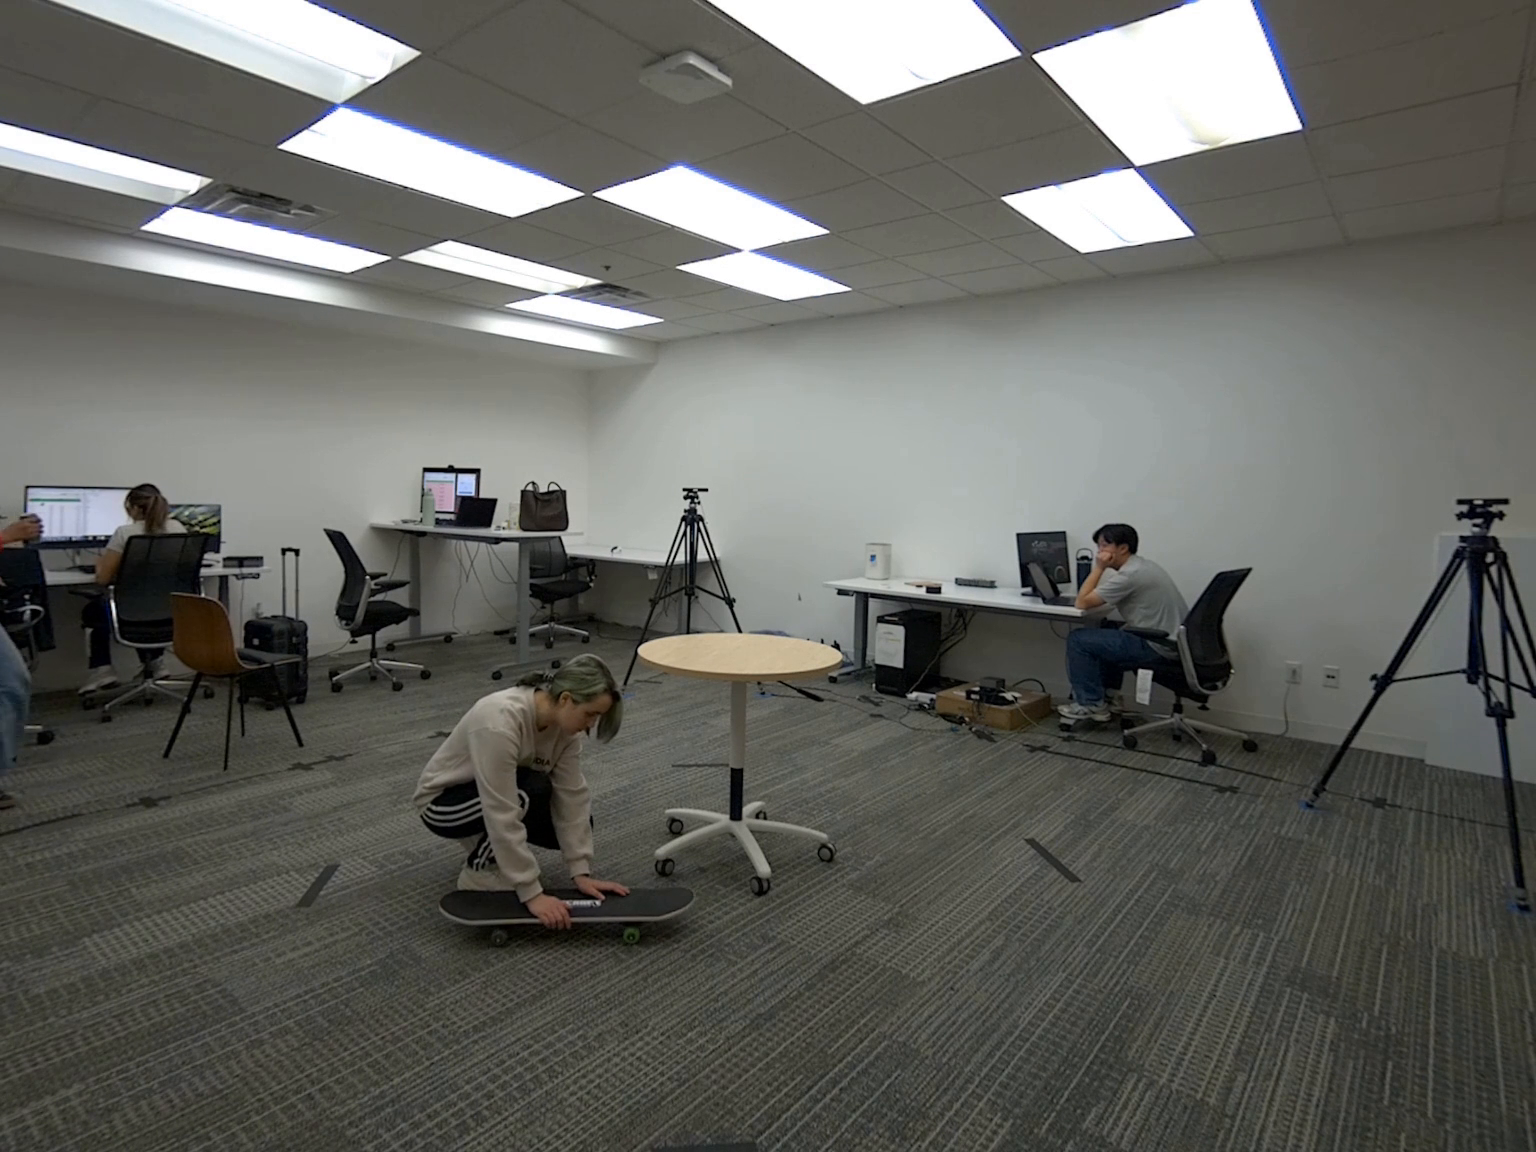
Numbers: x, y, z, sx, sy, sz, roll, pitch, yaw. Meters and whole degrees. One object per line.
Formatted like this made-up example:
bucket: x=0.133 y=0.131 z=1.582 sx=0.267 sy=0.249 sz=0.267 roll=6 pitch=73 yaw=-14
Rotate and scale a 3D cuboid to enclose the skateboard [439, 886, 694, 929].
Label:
skateboard: x=-0.620 y=1.047 z=2.658 sx=0.782 sy=0.110 sz=0.195 roll=0 pitch=4 yaw=-4
